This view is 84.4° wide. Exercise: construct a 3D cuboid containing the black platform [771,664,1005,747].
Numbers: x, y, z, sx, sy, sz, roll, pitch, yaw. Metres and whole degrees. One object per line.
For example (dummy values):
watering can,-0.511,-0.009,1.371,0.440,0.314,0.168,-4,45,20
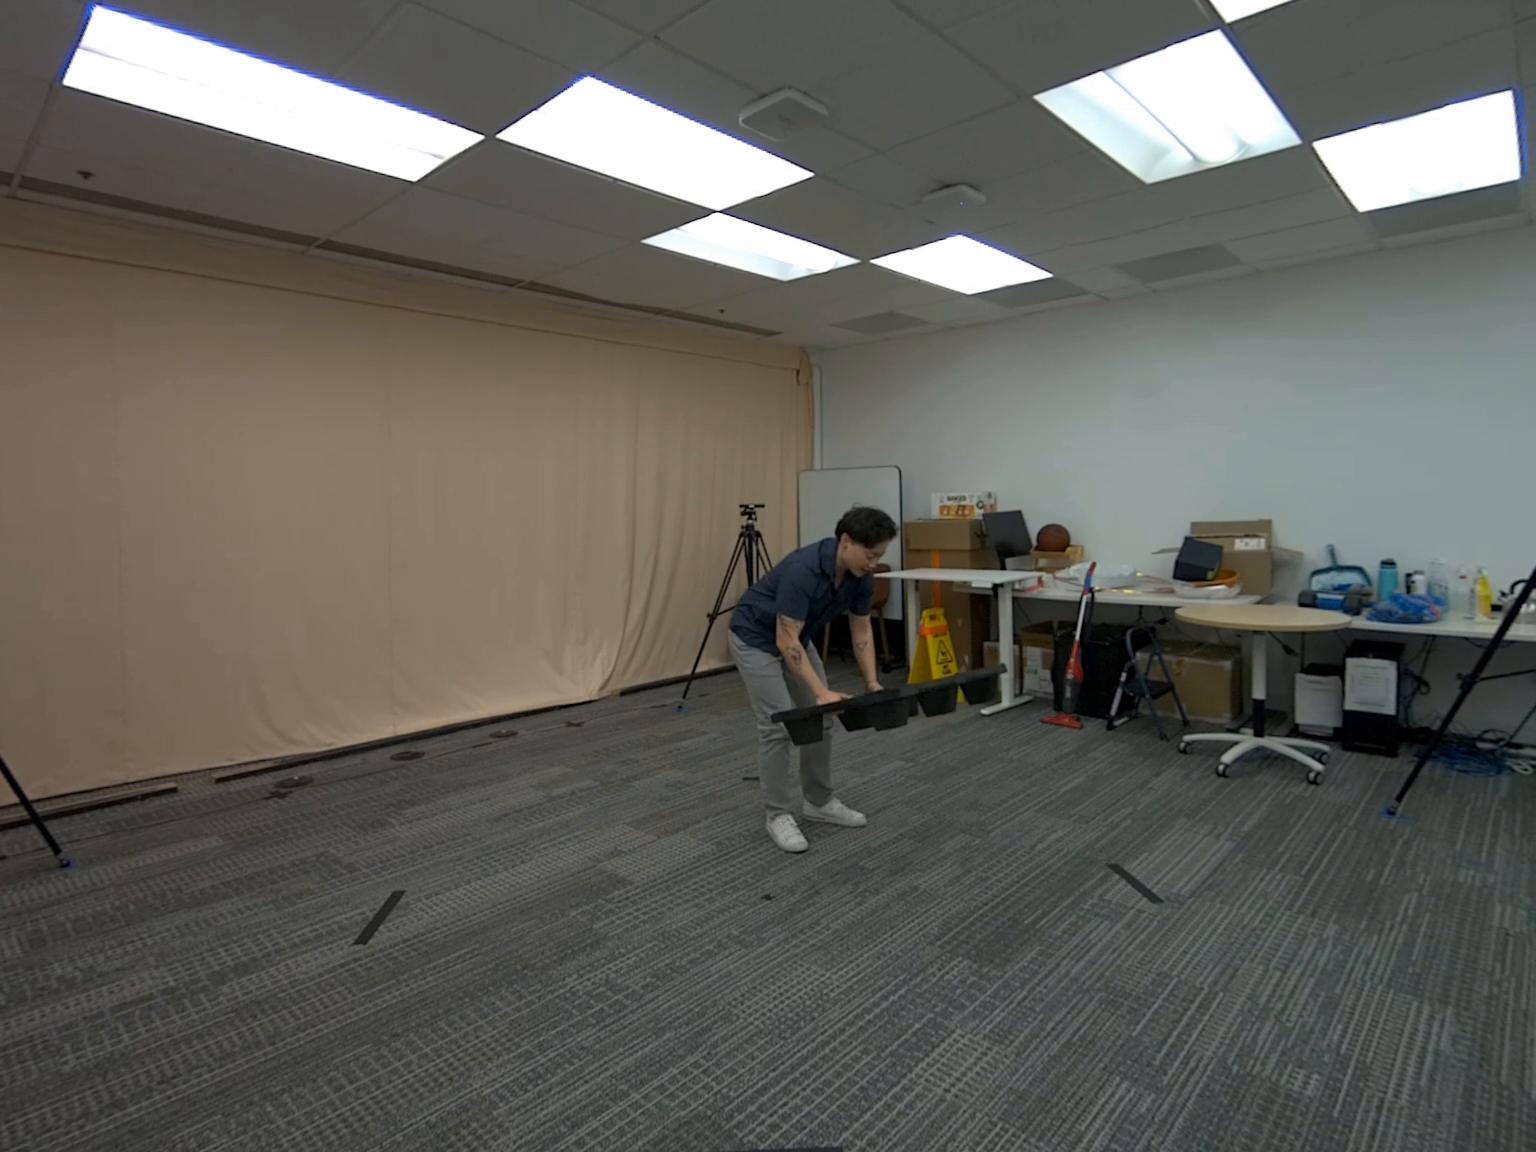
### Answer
black platform,0.500,0.500,3.245,0.619,0.144,0.780,-19,-12,41
